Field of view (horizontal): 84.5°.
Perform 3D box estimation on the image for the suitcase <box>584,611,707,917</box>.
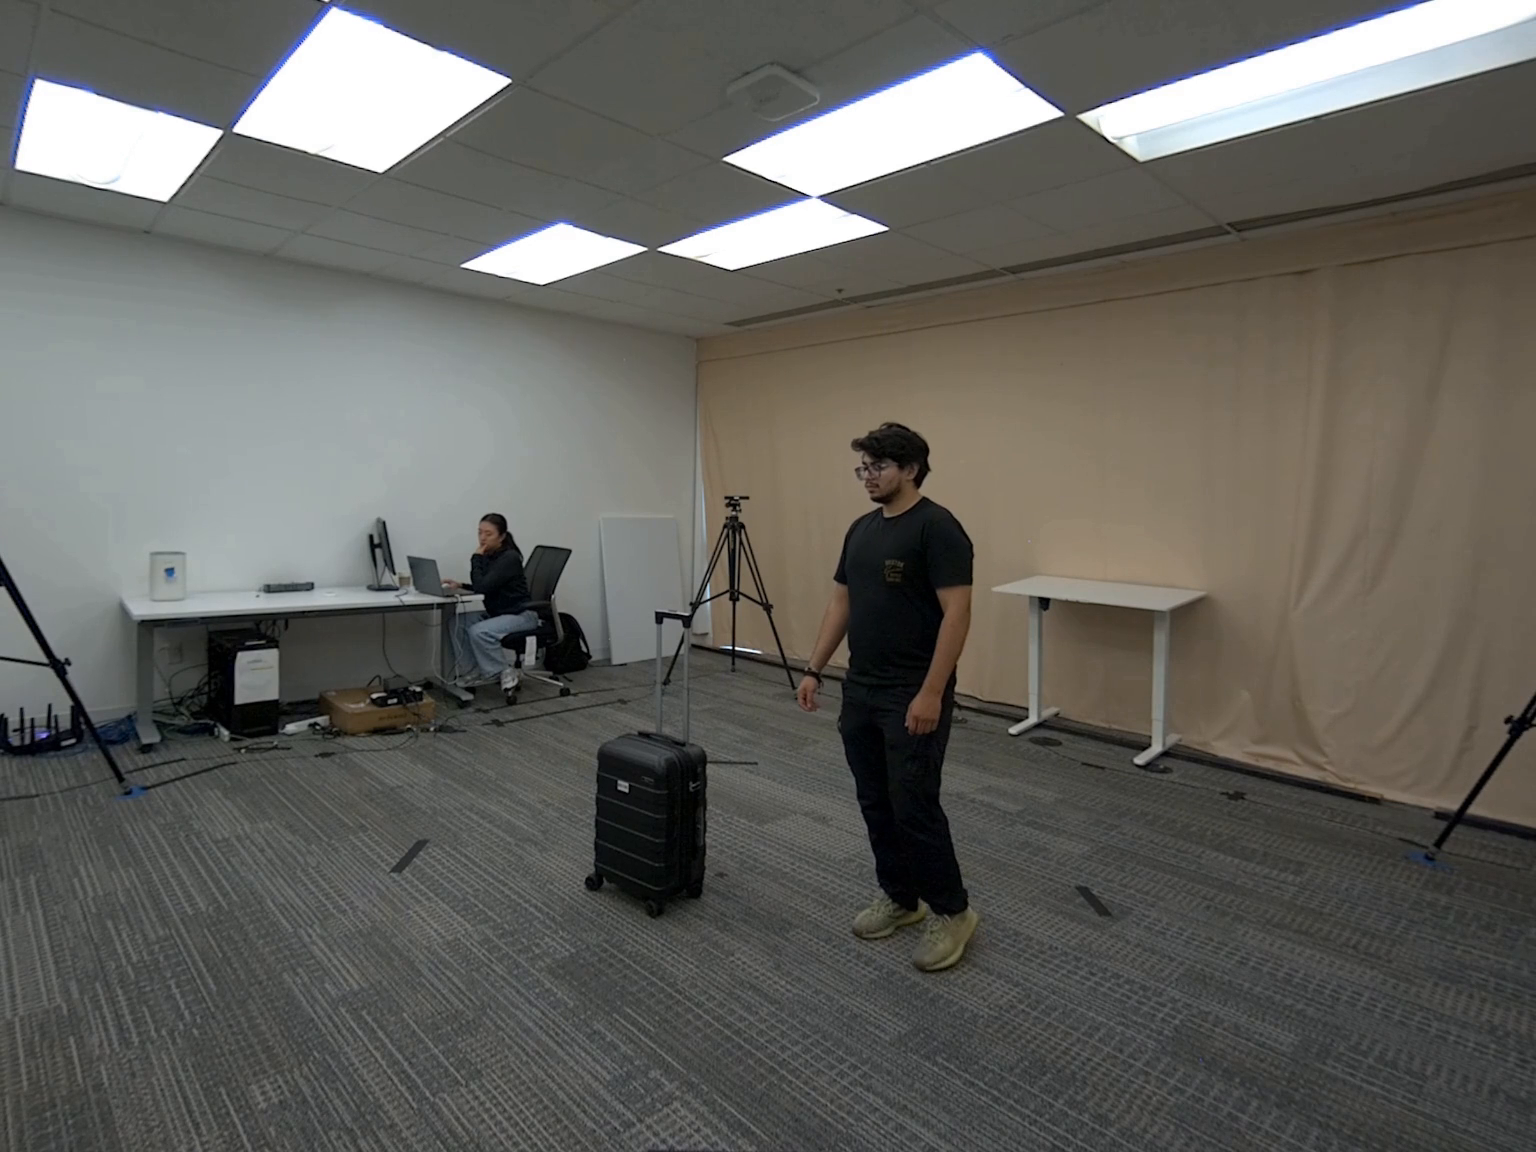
[{"bbox_3d":[-0.416,0.640,2.922,0.393,0.975,0.252,5,6,36],"label":"suitcase"}]
